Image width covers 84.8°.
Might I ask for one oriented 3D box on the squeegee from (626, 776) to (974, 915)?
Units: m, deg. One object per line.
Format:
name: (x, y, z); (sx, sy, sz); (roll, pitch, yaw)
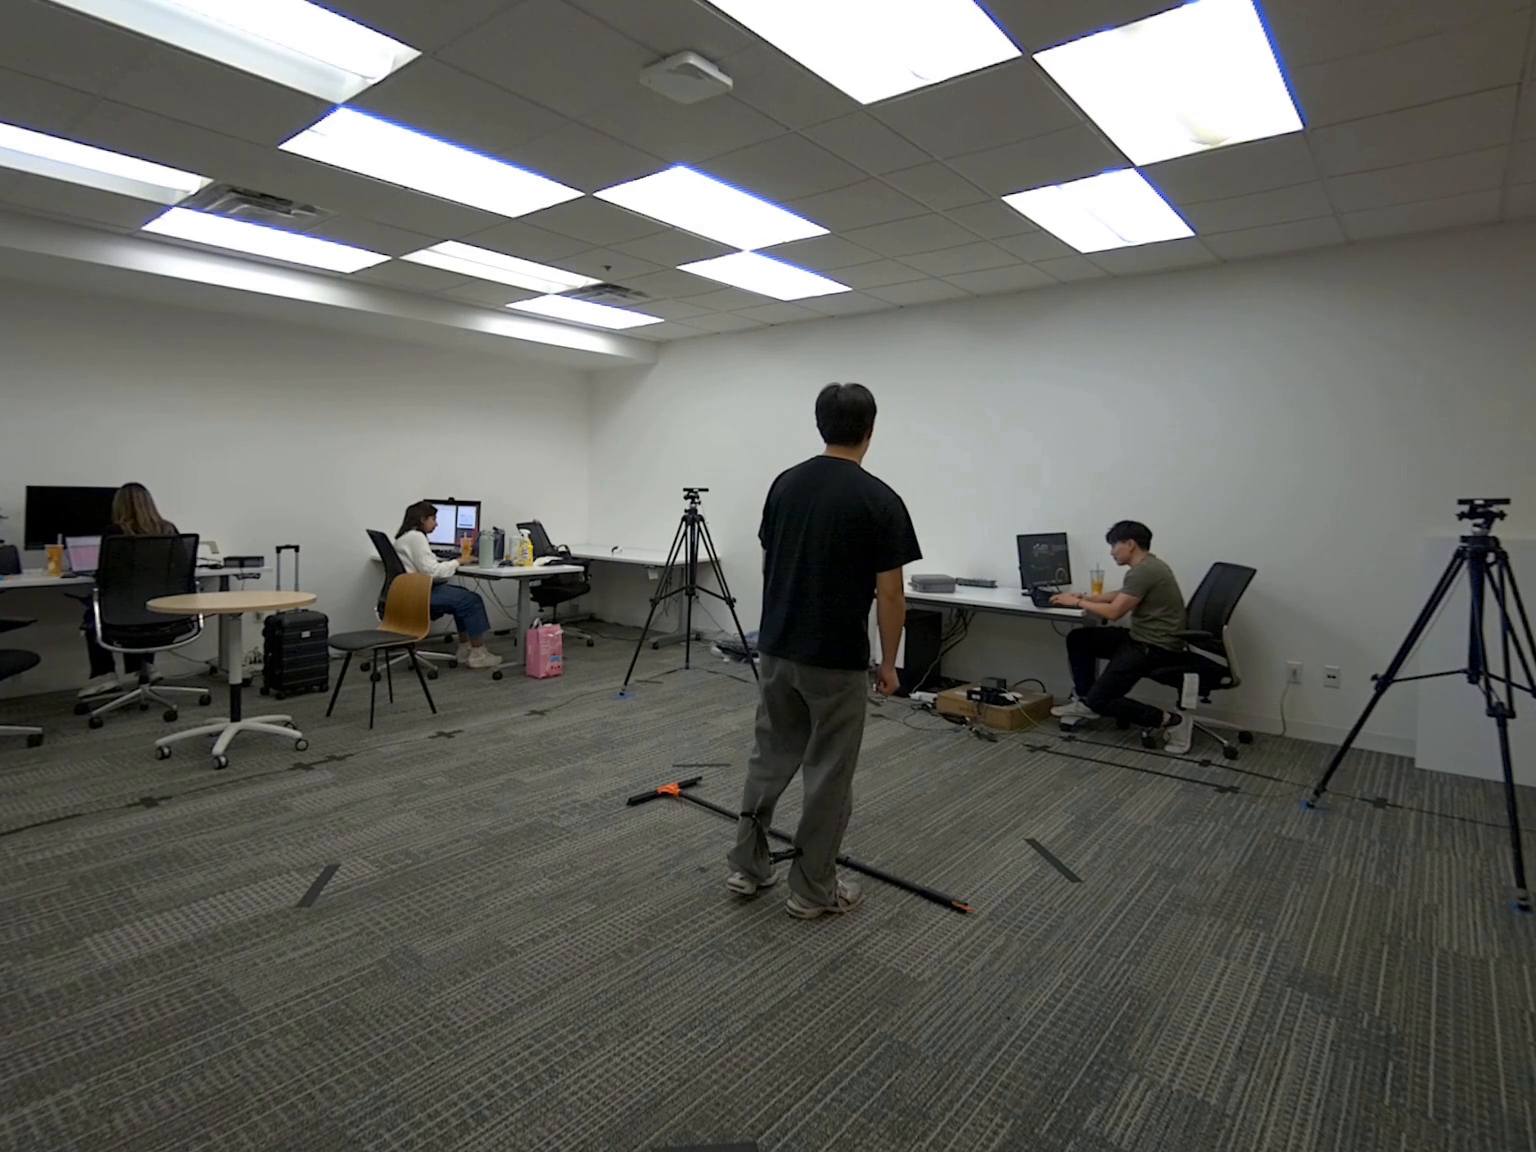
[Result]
squeegee: (0.086, 1.021, 3.344); (1.592, 0.052, 0.425); (8, 10, 43)
